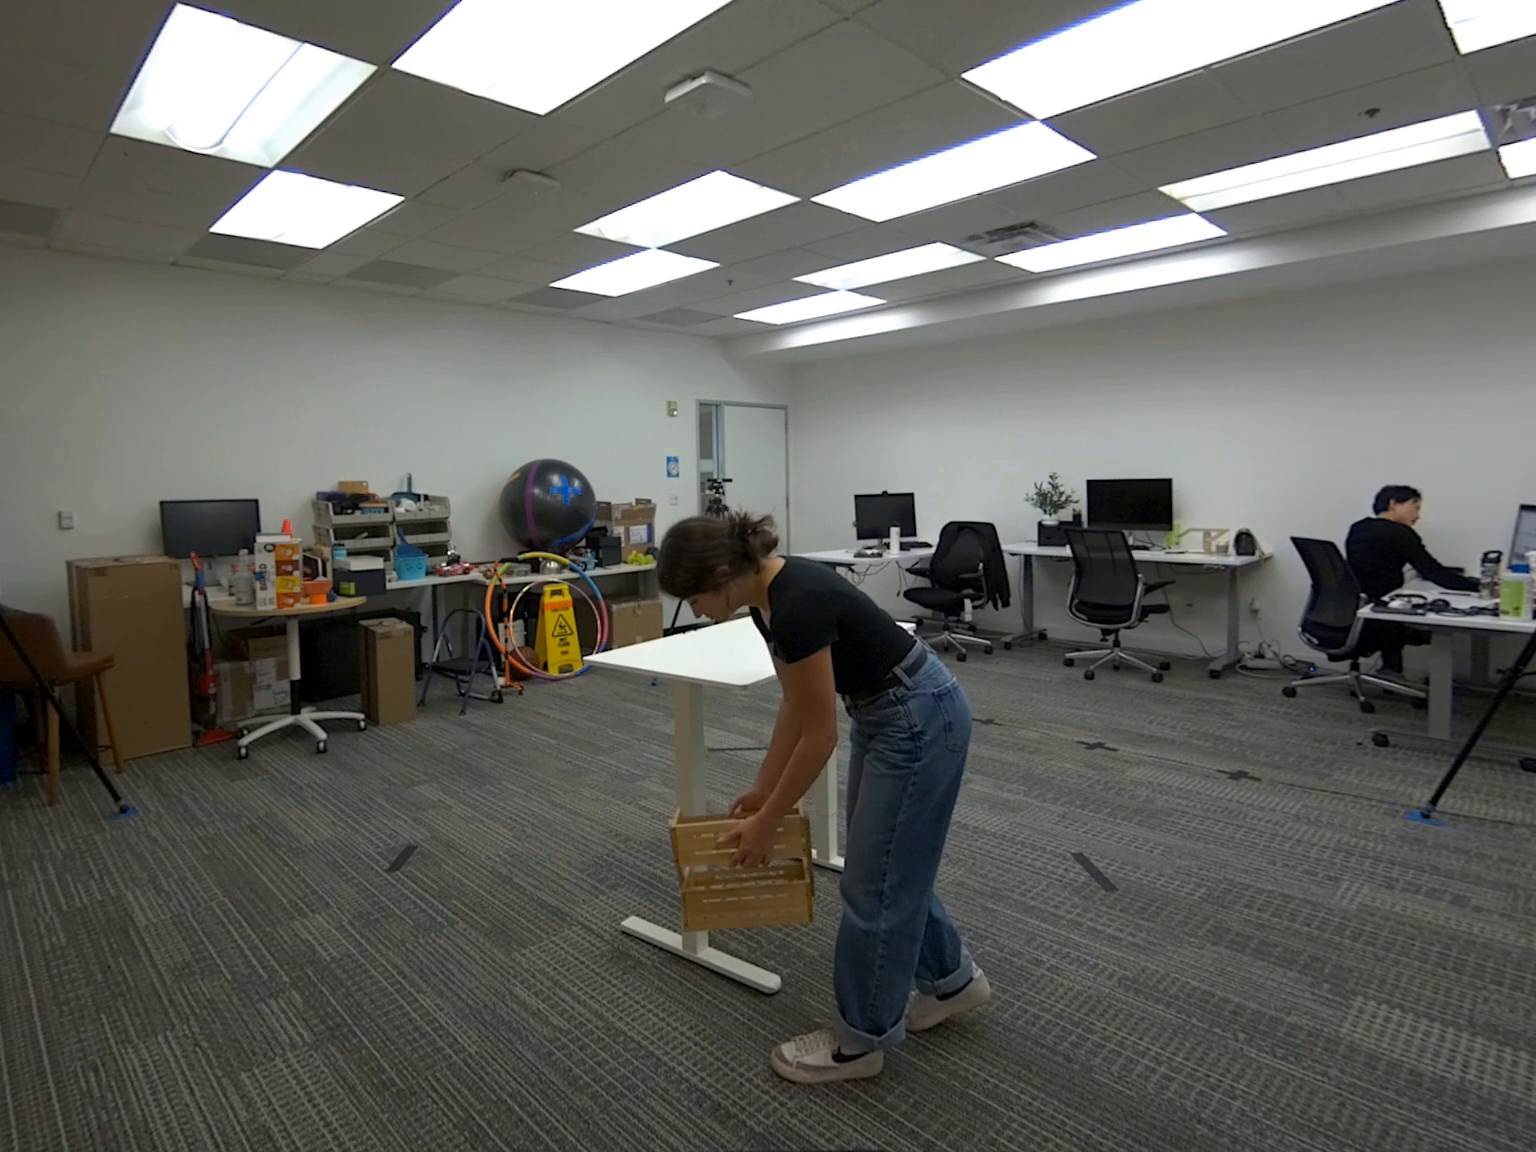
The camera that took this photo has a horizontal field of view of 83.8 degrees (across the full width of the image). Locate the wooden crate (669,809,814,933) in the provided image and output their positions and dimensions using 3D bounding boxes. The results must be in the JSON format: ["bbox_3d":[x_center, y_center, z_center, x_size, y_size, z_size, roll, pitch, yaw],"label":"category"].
[{"bbox_3d":[-0.049,0.677,2.066,0.325,0.274,0.301,-5,-1,2],"label":"wooden crate"}]
